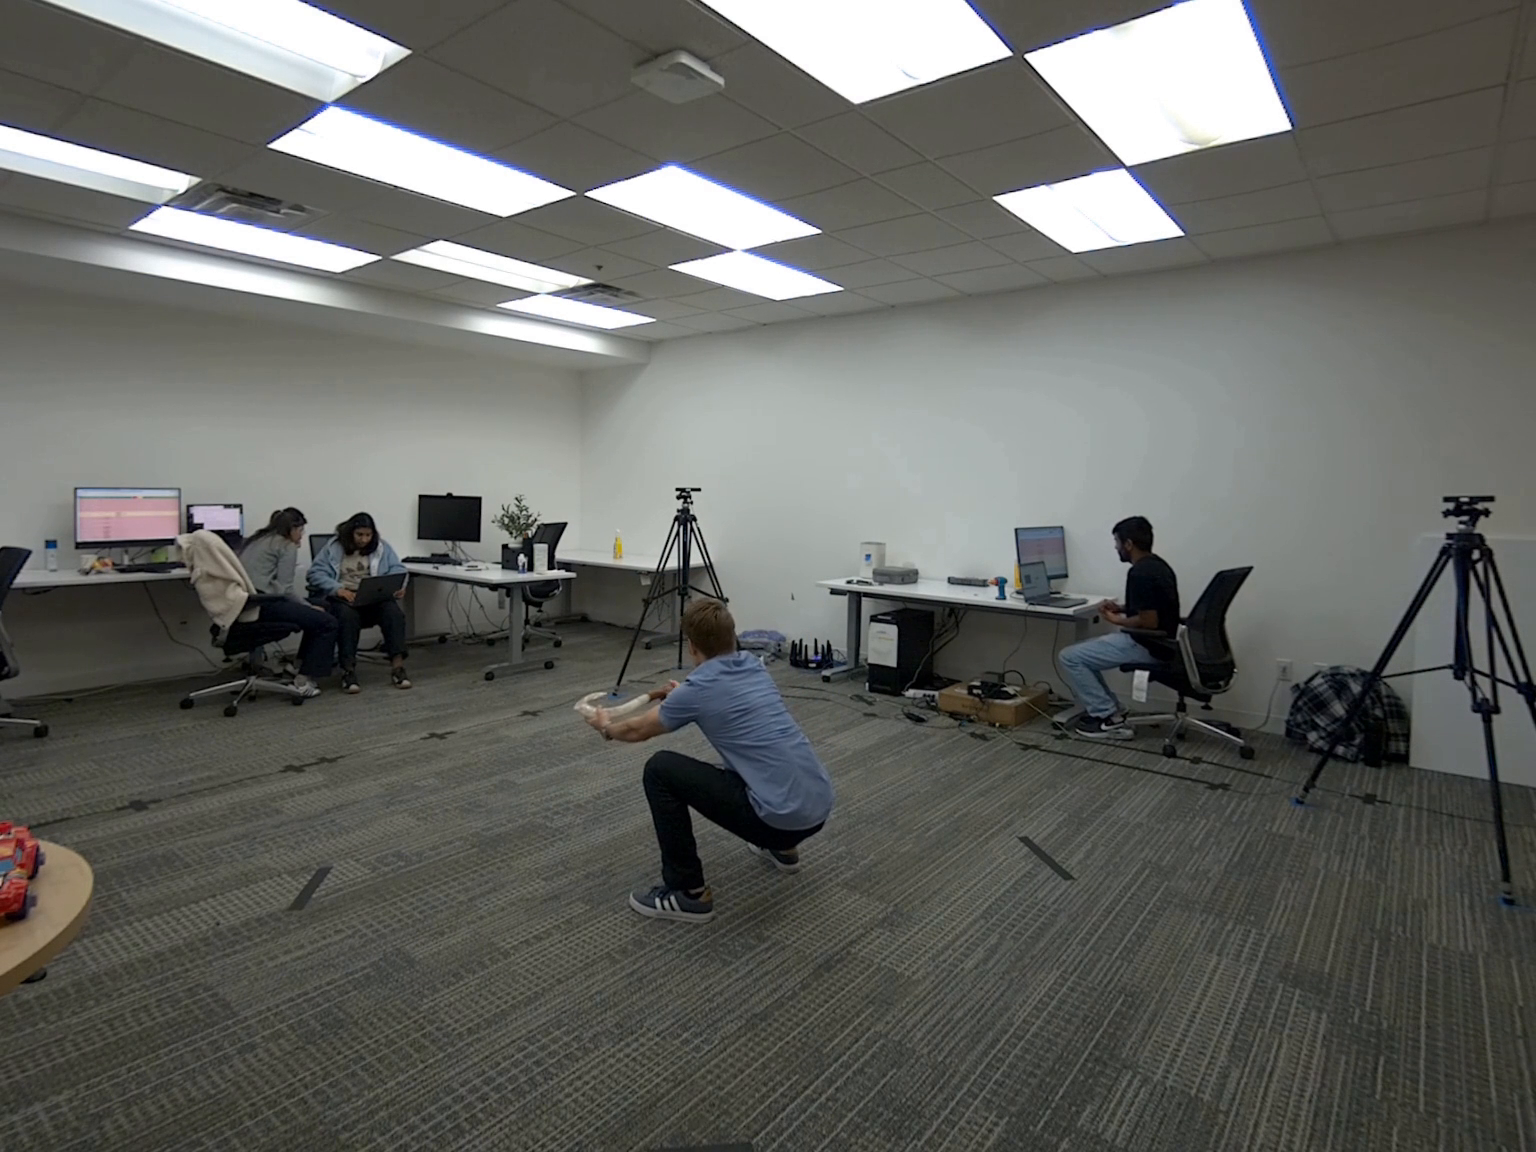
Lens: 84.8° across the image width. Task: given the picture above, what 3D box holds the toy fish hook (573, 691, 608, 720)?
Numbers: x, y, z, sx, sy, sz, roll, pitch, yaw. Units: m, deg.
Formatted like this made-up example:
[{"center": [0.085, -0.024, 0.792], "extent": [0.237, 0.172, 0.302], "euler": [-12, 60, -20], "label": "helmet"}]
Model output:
[{"center": [-0.573, 0.495, 3.494], "extent": [0.233, 0.048, 0.493], "euler": [20, 20, 39], "label": "toy fish hook"}]
